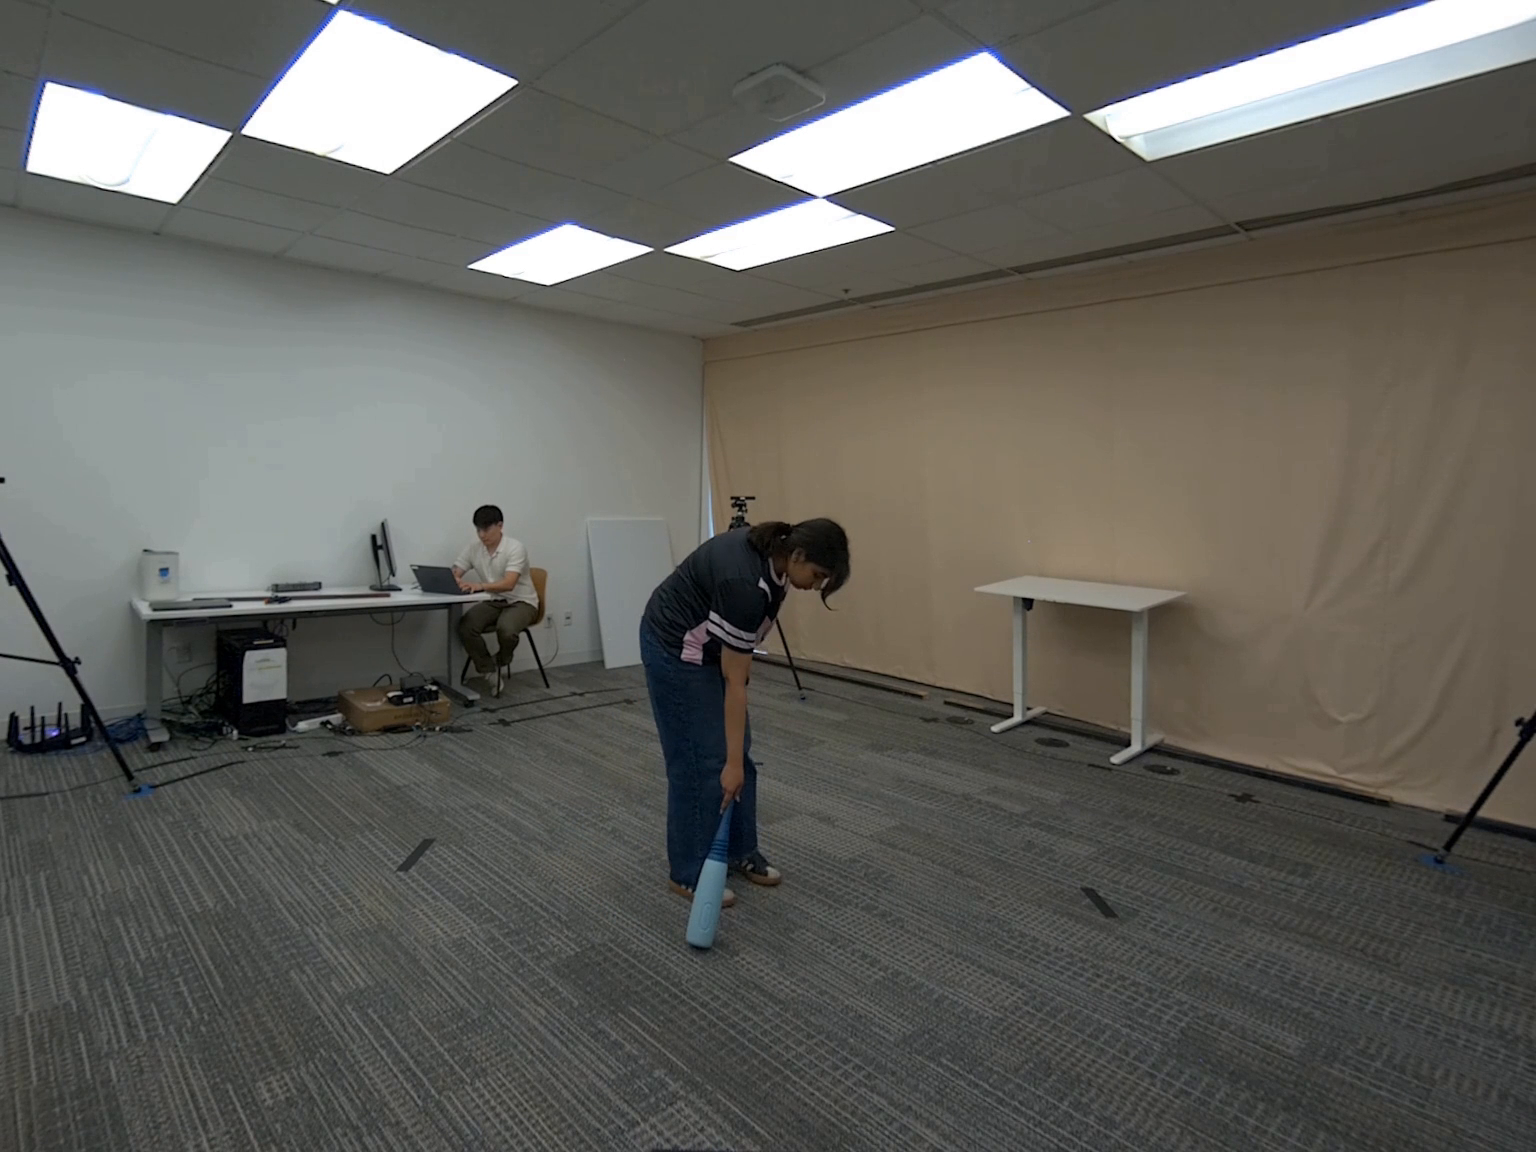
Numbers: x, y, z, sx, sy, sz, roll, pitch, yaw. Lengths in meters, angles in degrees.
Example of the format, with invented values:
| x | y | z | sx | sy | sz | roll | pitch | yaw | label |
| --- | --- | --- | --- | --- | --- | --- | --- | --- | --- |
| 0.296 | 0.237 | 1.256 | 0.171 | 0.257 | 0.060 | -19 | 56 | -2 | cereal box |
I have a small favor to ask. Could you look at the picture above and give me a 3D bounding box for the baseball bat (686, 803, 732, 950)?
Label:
| x | y | z | sx | sy | sz | roll | pitch | yaw | label |
| --- | --- | --- | --- | --- | --- | --- | --- | --- | --- |
| -0.167 | 0.897 | 2.679 | 0.089 | 0.549 | 0.088 | 11 | -22 | 3 | baseball bat |
